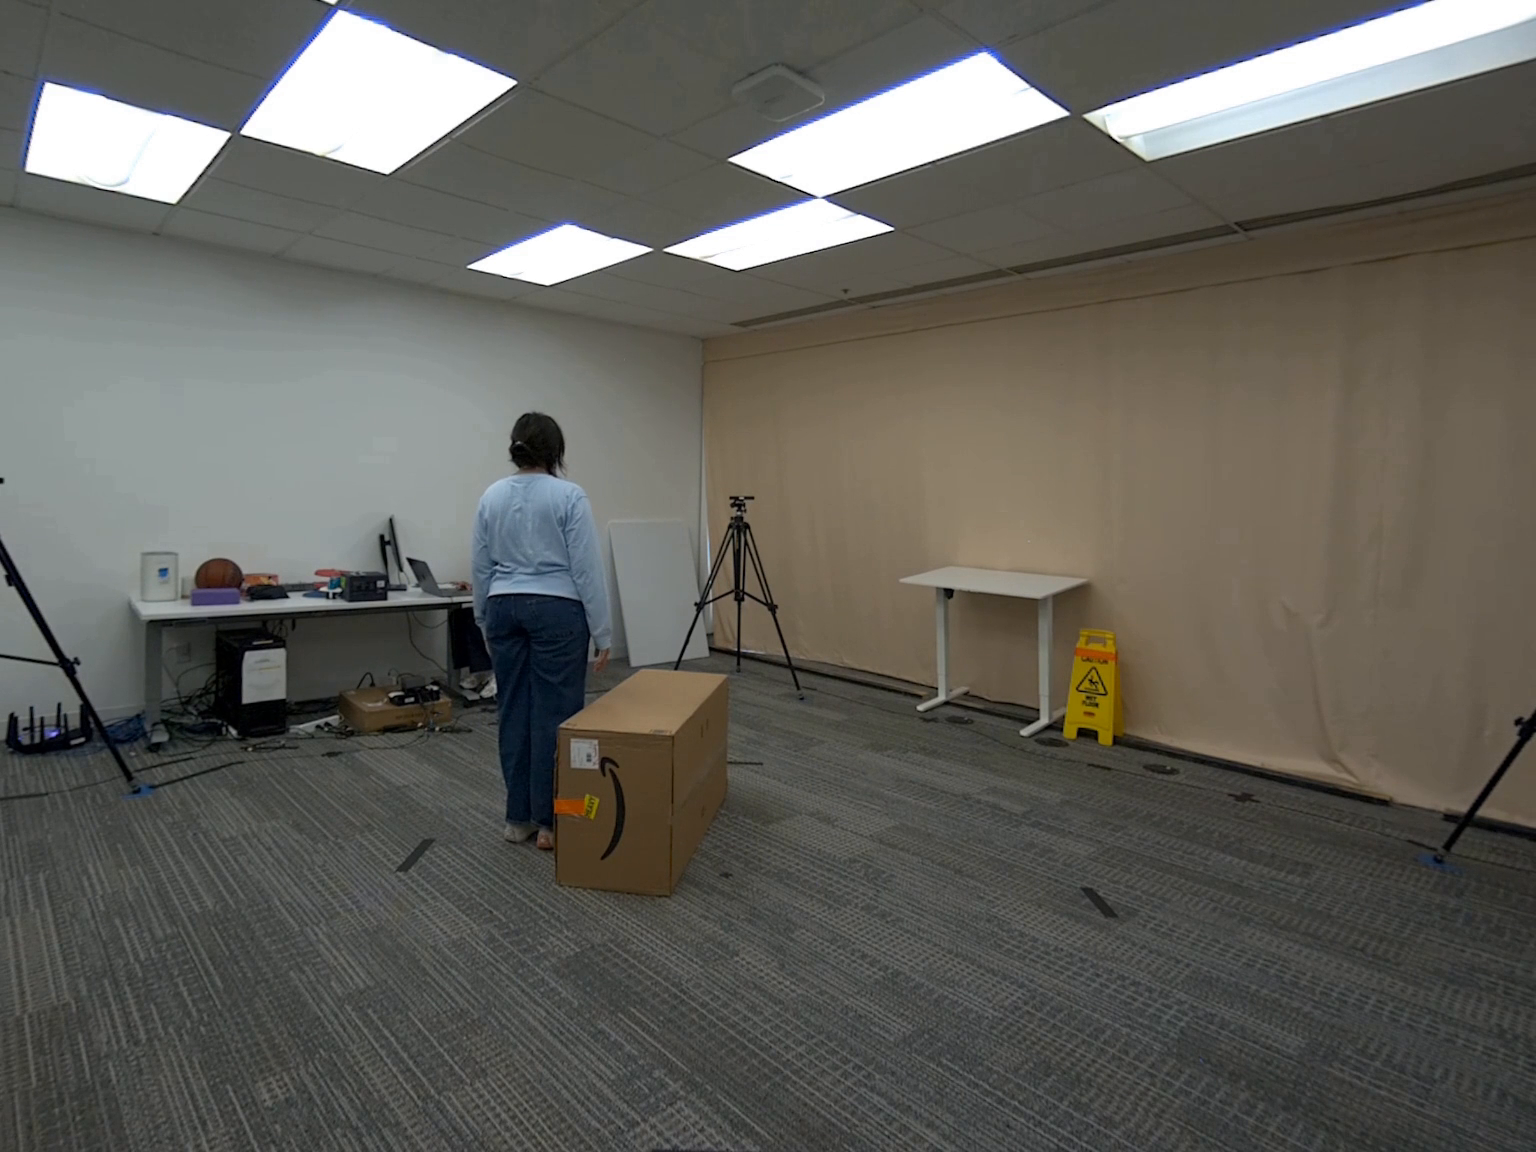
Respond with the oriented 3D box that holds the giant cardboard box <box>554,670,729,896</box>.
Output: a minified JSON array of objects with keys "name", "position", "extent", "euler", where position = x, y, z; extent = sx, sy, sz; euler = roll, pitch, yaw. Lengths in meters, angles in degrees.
[{"name":"giant cardboard box","position":[-0.476,0.777,3.444],"extent":[0.429,0.576,1.021],"euler":[1,5,8]}]
